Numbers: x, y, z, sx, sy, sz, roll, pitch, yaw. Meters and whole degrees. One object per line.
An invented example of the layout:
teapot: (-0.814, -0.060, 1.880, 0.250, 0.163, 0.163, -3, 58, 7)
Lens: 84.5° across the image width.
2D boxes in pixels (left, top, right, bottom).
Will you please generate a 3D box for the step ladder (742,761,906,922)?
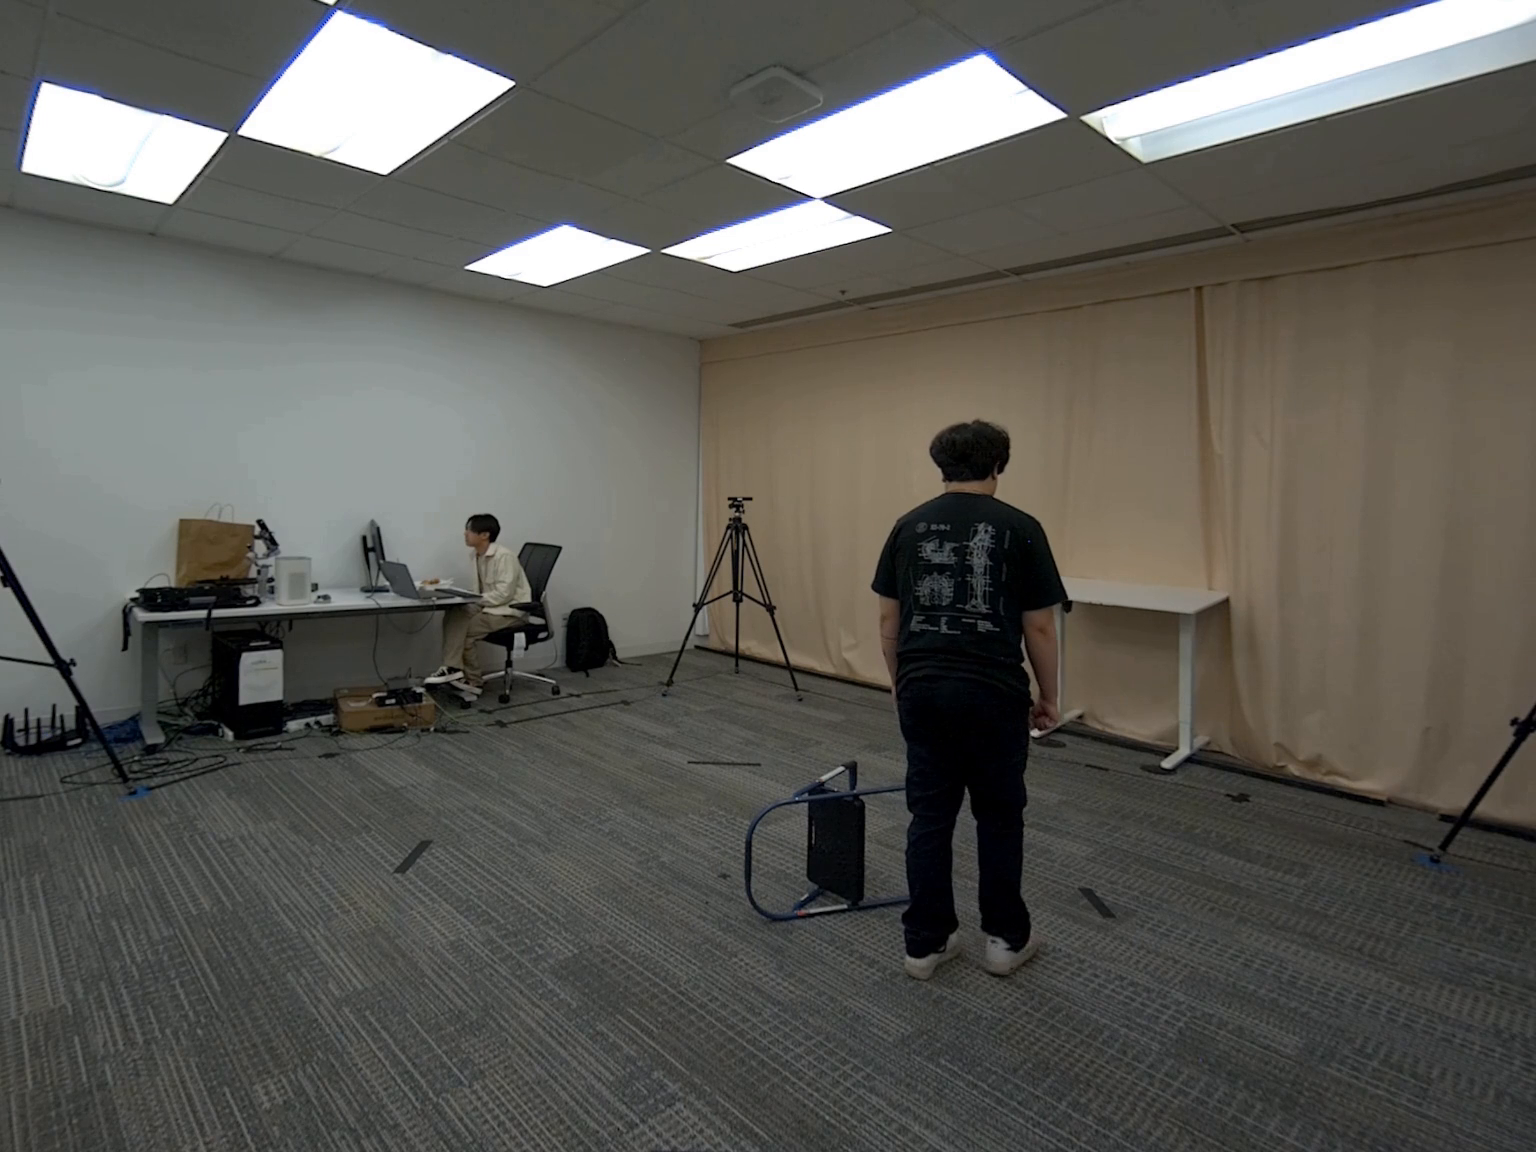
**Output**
step ladder: (0.201, 0.925, 2.868, 0.592, 0.429, 0.358, -3, 5, -40)
